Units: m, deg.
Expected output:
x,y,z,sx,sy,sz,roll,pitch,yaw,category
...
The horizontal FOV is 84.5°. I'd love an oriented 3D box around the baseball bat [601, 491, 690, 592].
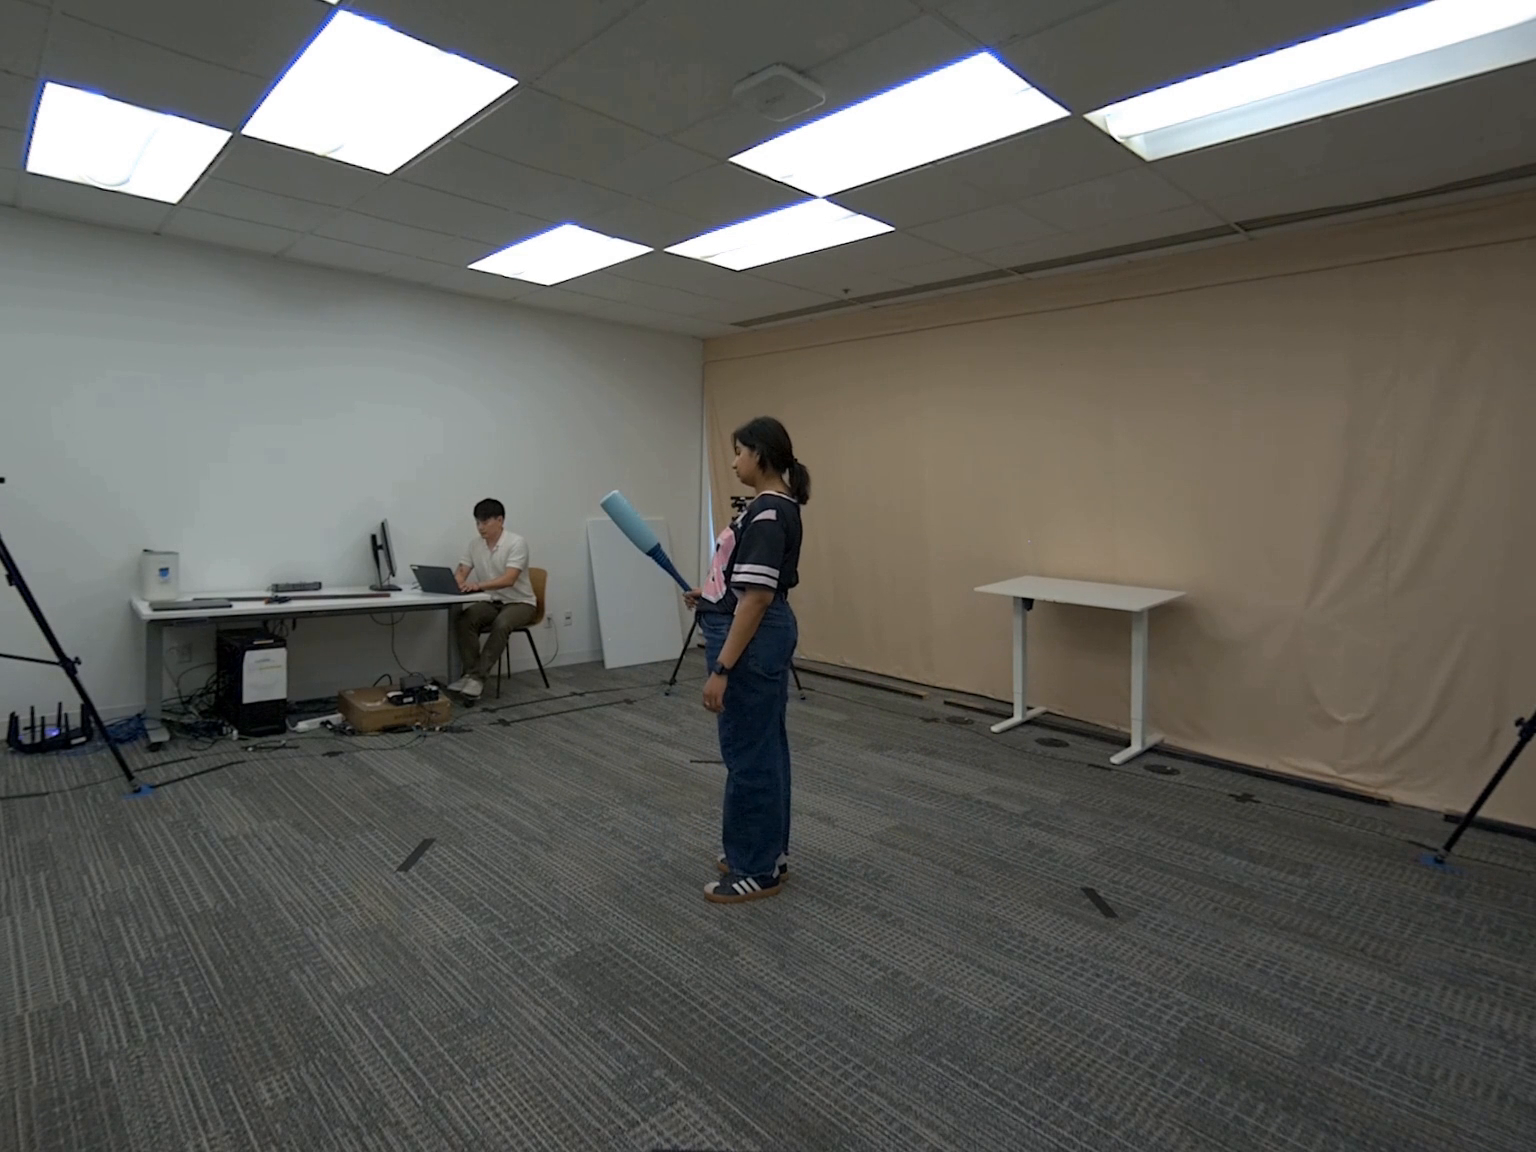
x,y,z,sx,sy,sz,roll,pitch,yaw,category
-0.415,-0.094,3.102,0.089,0.540,0.089,-40,6,4,baseball bat
